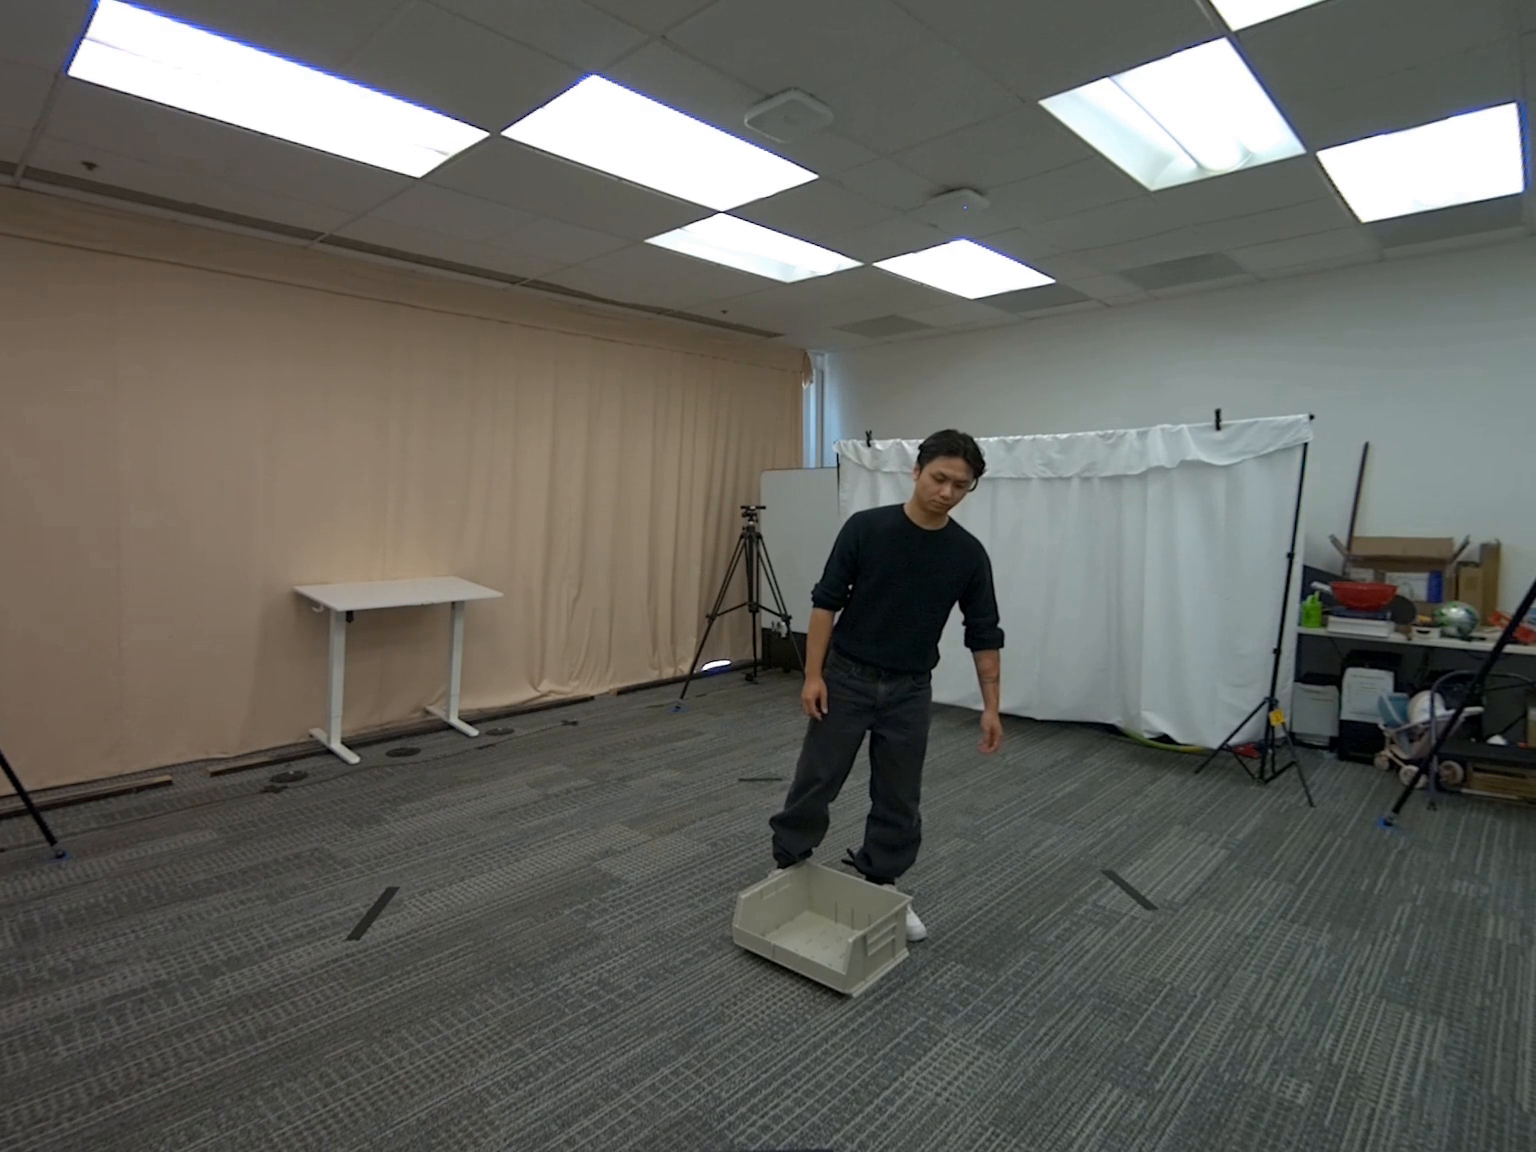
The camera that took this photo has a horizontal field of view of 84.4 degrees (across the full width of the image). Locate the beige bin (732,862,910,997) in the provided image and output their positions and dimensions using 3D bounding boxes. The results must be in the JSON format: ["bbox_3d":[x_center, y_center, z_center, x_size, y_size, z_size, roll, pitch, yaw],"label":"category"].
[{"bbox_3d":[0.173,1.088,2.609,0.436,0.189,0.366,3,4,41],"label":"beige bin"}]
